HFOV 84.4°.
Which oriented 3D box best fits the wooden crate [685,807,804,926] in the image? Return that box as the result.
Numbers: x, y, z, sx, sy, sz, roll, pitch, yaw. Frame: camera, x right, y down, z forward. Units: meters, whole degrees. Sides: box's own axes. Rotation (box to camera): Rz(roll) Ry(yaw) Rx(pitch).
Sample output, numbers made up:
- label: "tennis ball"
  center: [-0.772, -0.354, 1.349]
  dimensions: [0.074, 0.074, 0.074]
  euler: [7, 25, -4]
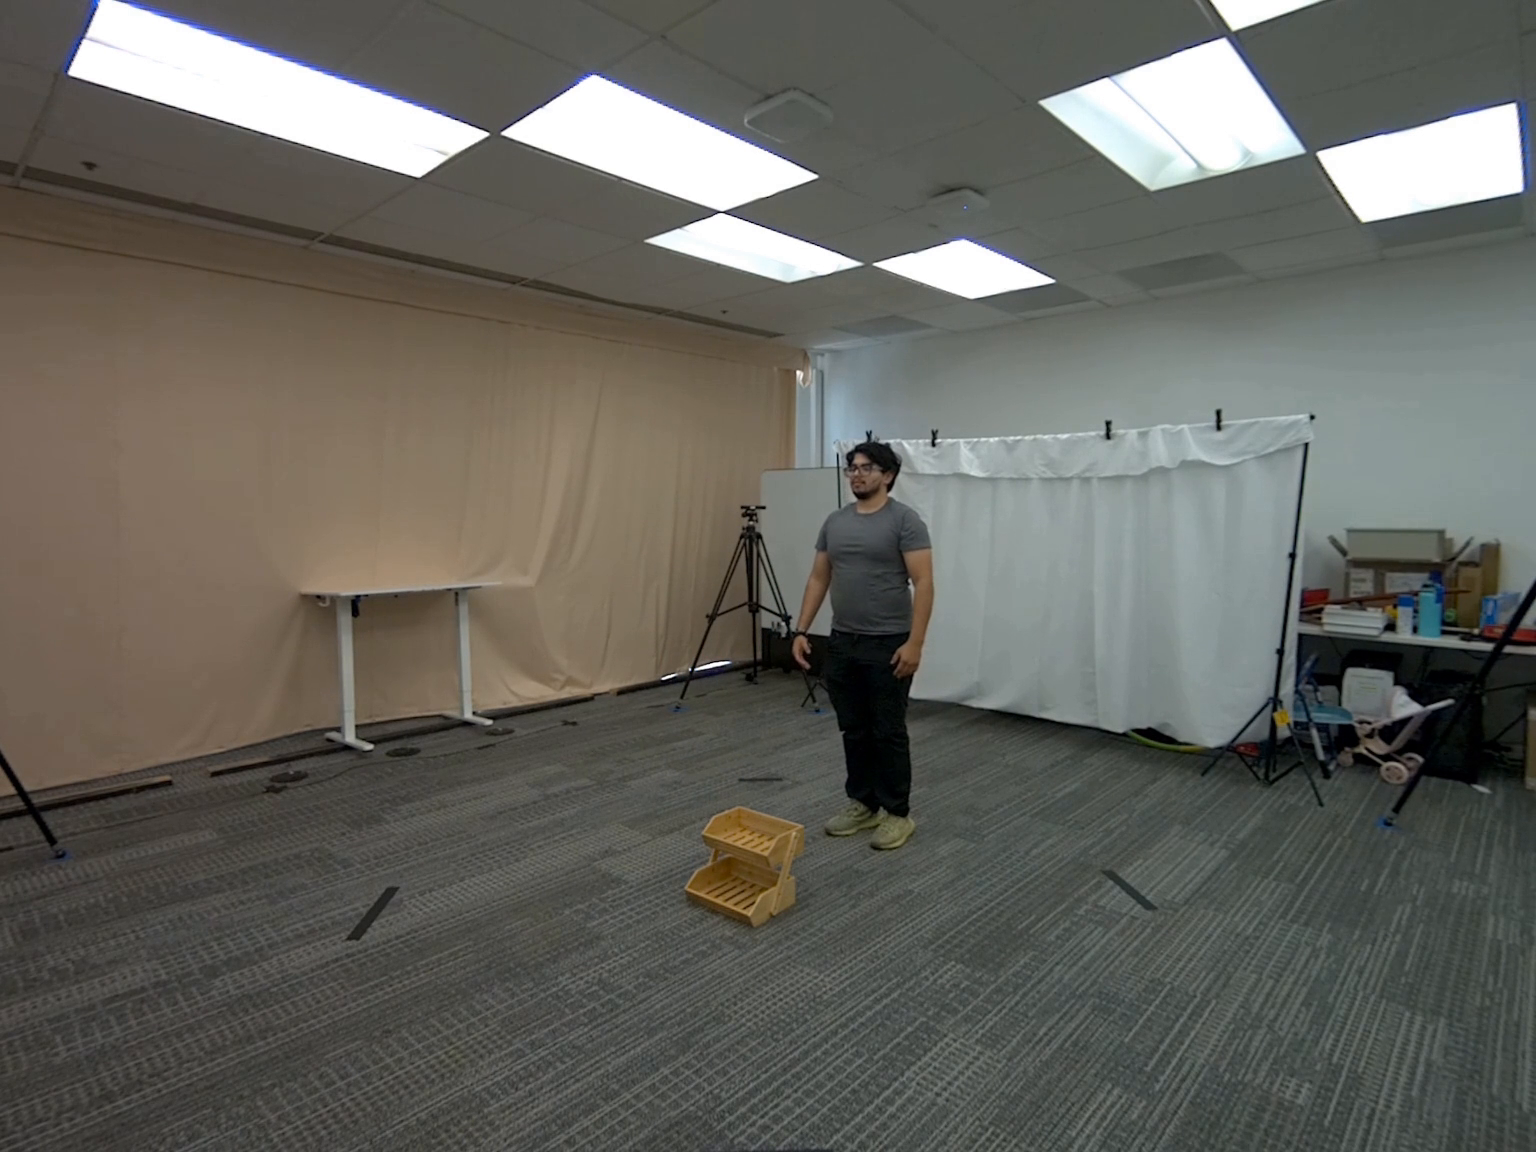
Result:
- label: "wooden crate"
  center: [-0.080, 1.012, 2.967]
  dimensions: [0.335, 0.273, 0.293]
  euler: [3, 5, 40]
